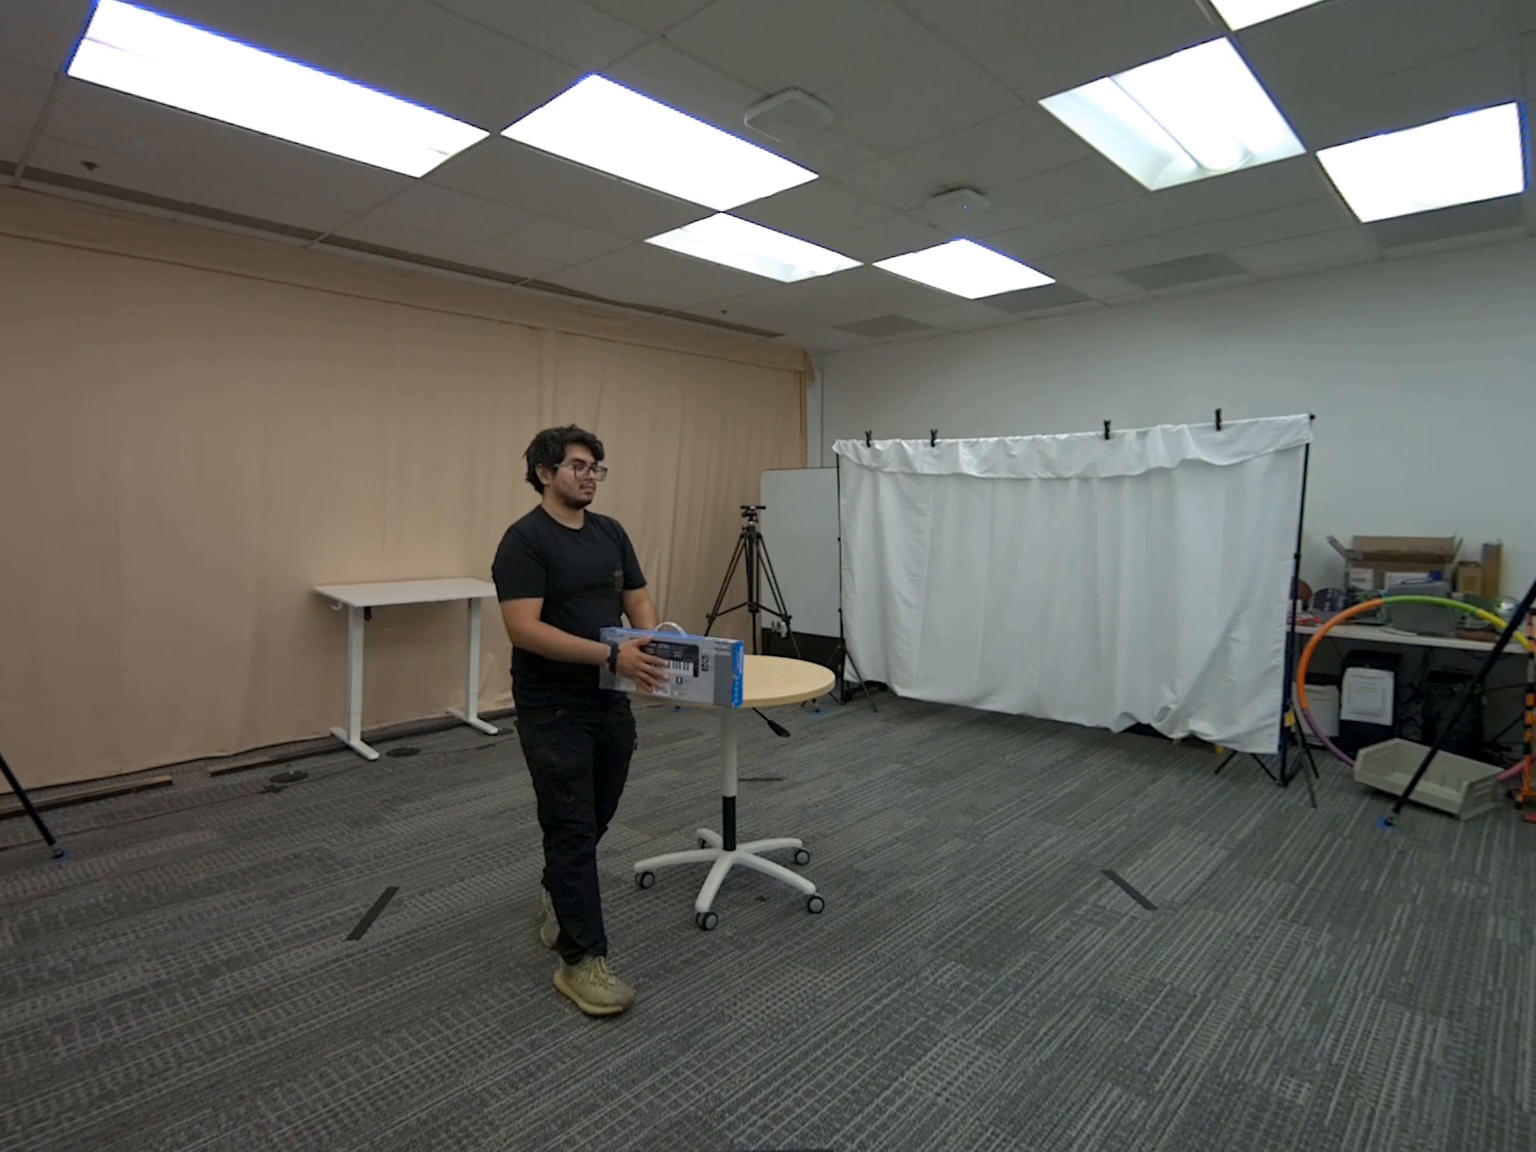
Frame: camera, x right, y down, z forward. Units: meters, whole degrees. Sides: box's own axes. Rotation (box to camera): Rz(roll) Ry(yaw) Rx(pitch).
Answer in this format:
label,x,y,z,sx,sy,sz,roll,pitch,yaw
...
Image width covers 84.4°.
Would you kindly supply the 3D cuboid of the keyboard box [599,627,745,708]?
label,x,y,z,sx,sy,sz,roll,pitch,yaw
keyboard box,-0.275,0.244,2.307,0.449,0.176,0.057,4,3,29
